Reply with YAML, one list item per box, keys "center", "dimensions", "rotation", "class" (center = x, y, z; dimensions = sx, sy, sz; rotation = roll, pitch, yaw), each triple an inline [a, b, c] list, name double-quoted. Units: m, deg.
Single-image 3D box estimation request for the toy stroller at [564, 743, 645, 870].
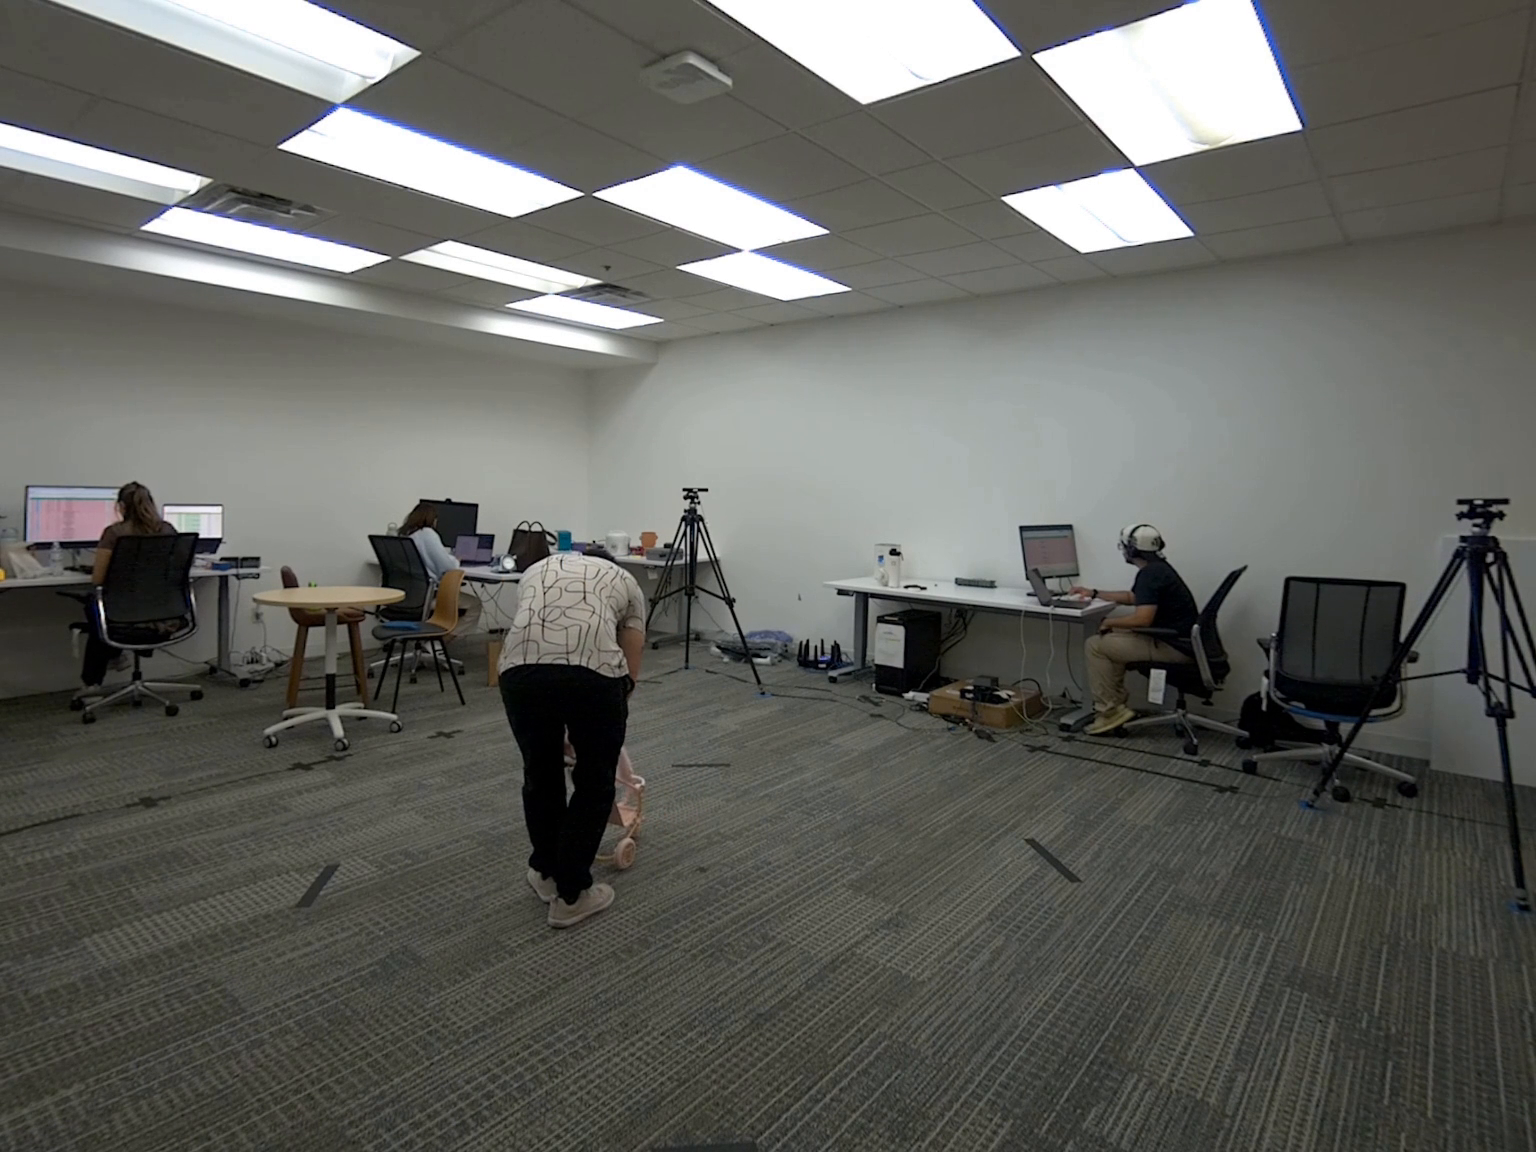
- center: [-0.615, 0.828, 3.199]
  dimensions: [0.289, 0.525, 0.338]
  rotation: [4, 20, 28]
  class: "toy stroller"
